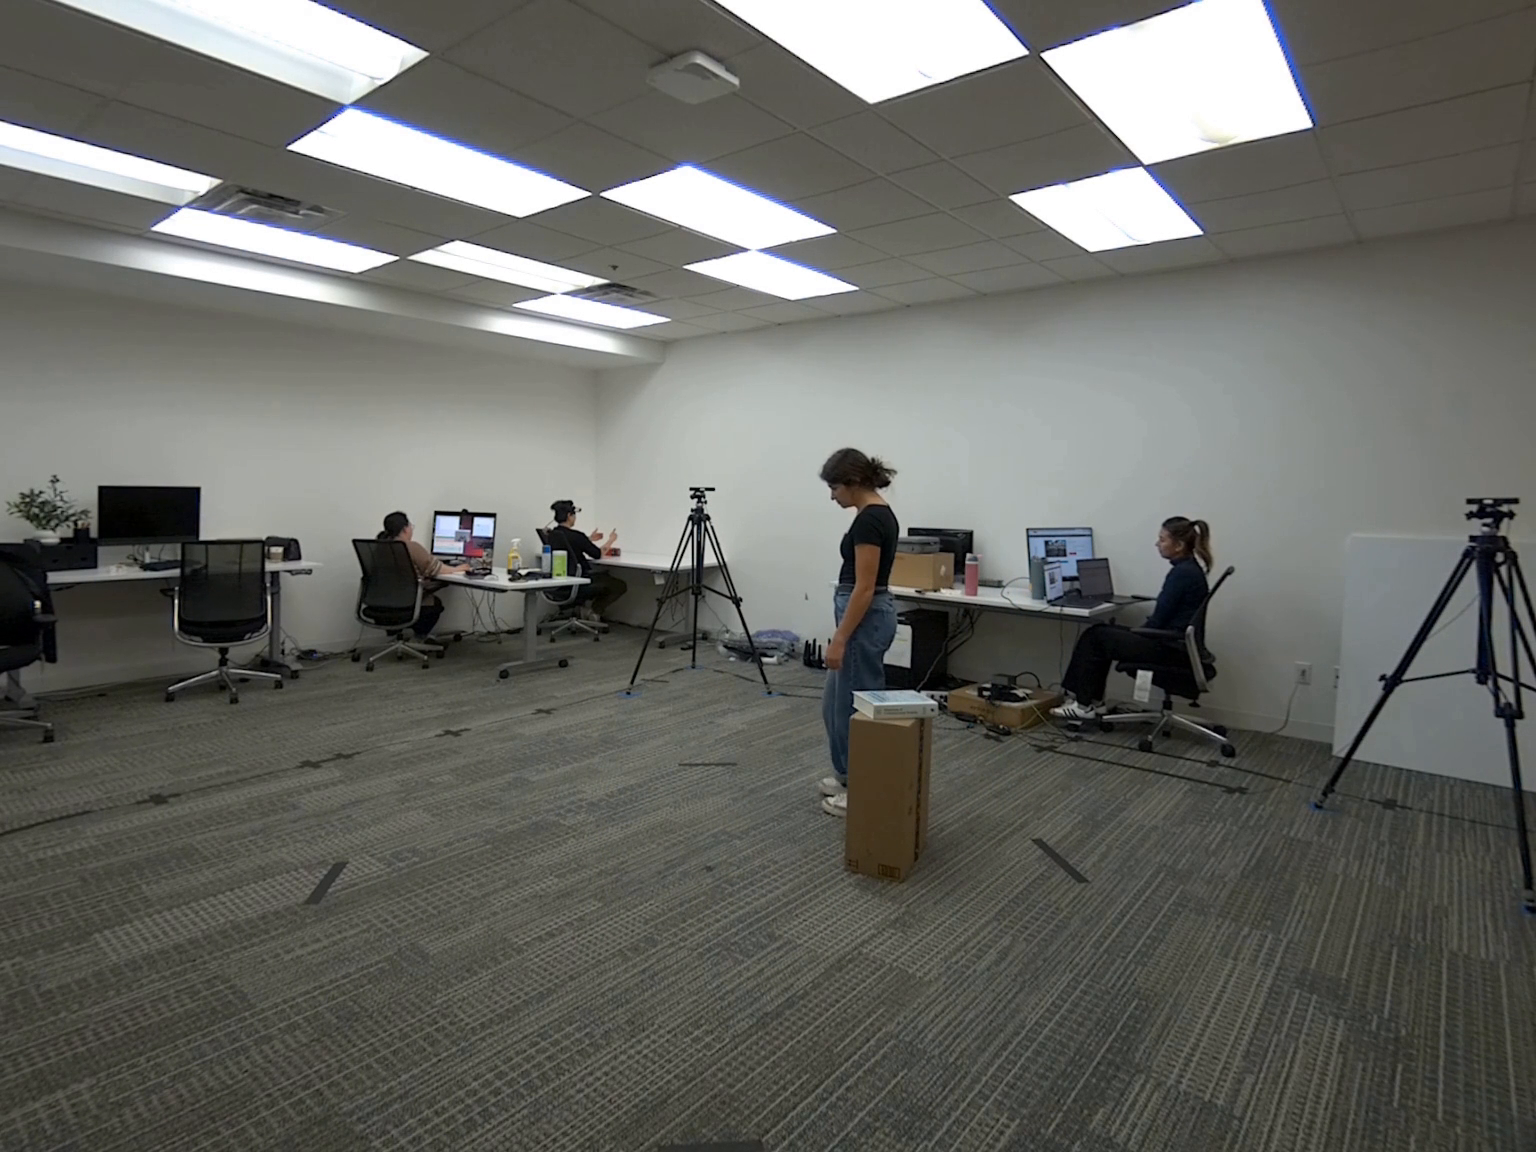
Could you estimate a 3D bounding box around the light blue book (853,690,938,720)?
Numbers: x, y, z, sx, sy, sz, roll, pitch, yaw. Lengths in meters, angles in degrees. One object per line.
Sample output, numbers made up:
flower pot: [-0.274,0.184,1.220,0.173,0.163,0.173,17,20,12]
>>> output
light blue book: [0.473,0.476,3.203,0.256,0.059,0.195,-1,7,-17]
